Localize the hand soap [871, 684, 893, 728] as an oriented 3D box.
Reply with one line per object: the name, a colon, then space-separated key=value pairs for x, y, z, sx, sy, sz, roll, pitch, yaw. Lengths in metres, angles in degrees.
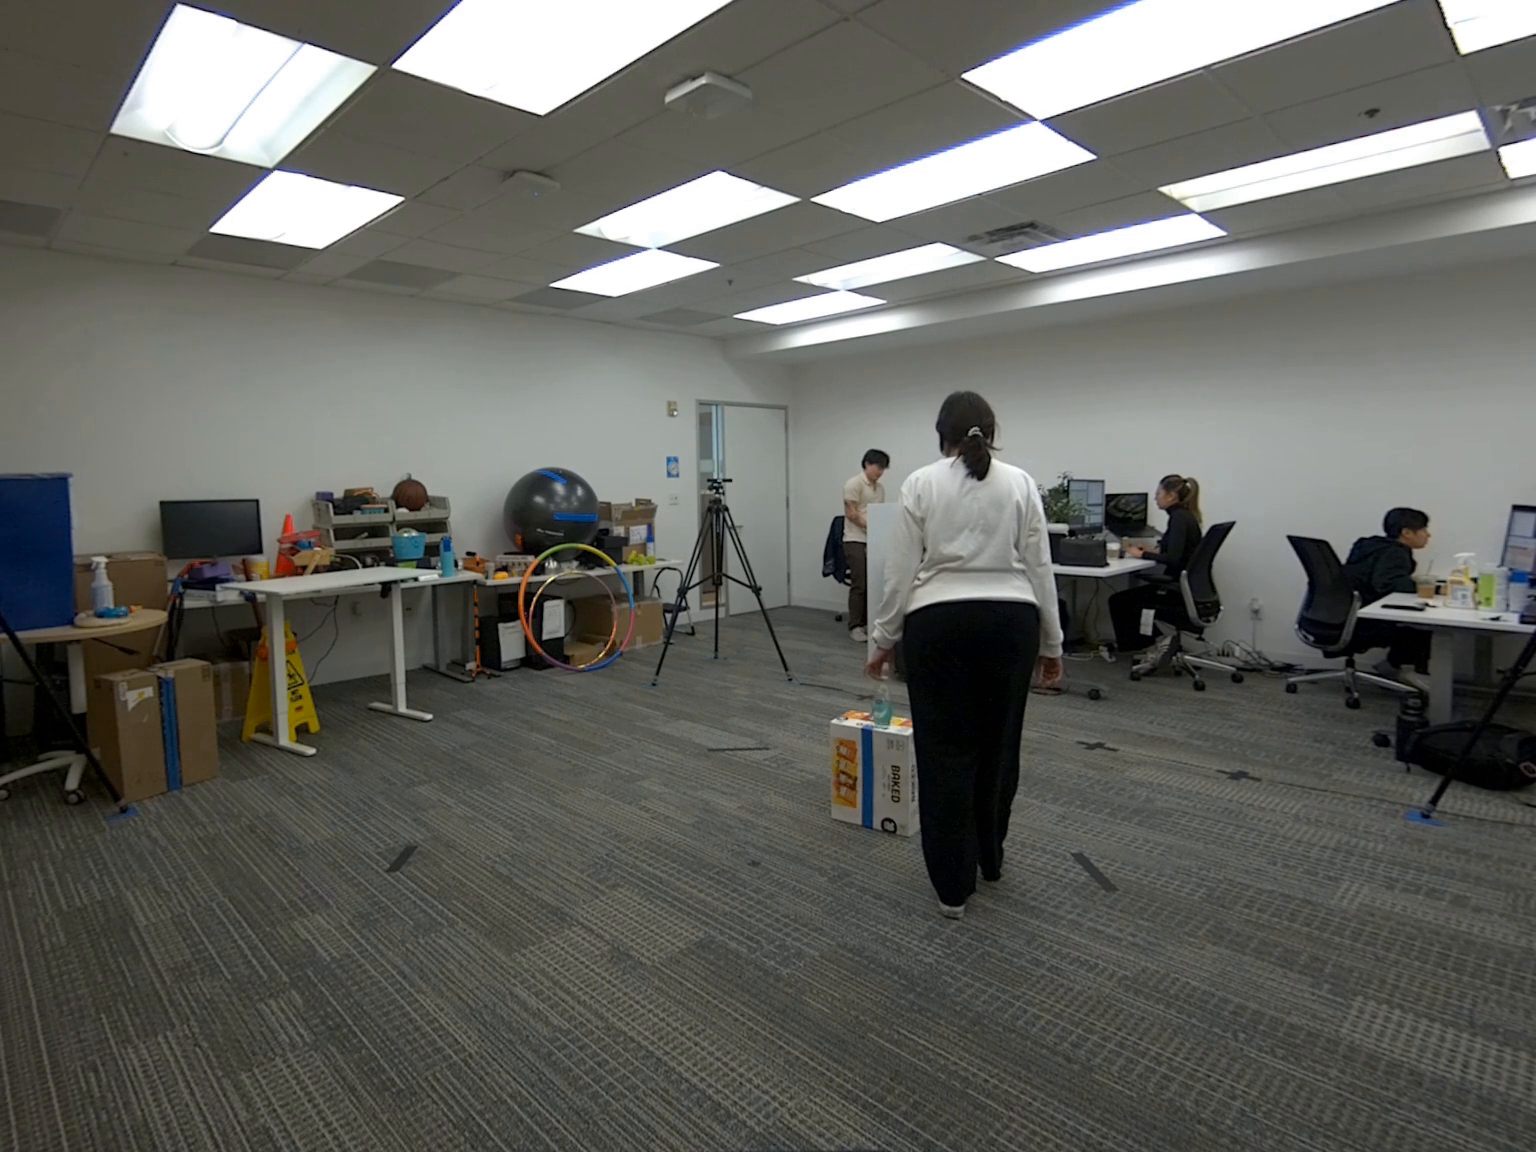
hand soap: x=0.398 y=0.428 z=2.968 sx=0.042 sy=0.168 sz=0.087 roll=1 pitch=3 yaw=-37
